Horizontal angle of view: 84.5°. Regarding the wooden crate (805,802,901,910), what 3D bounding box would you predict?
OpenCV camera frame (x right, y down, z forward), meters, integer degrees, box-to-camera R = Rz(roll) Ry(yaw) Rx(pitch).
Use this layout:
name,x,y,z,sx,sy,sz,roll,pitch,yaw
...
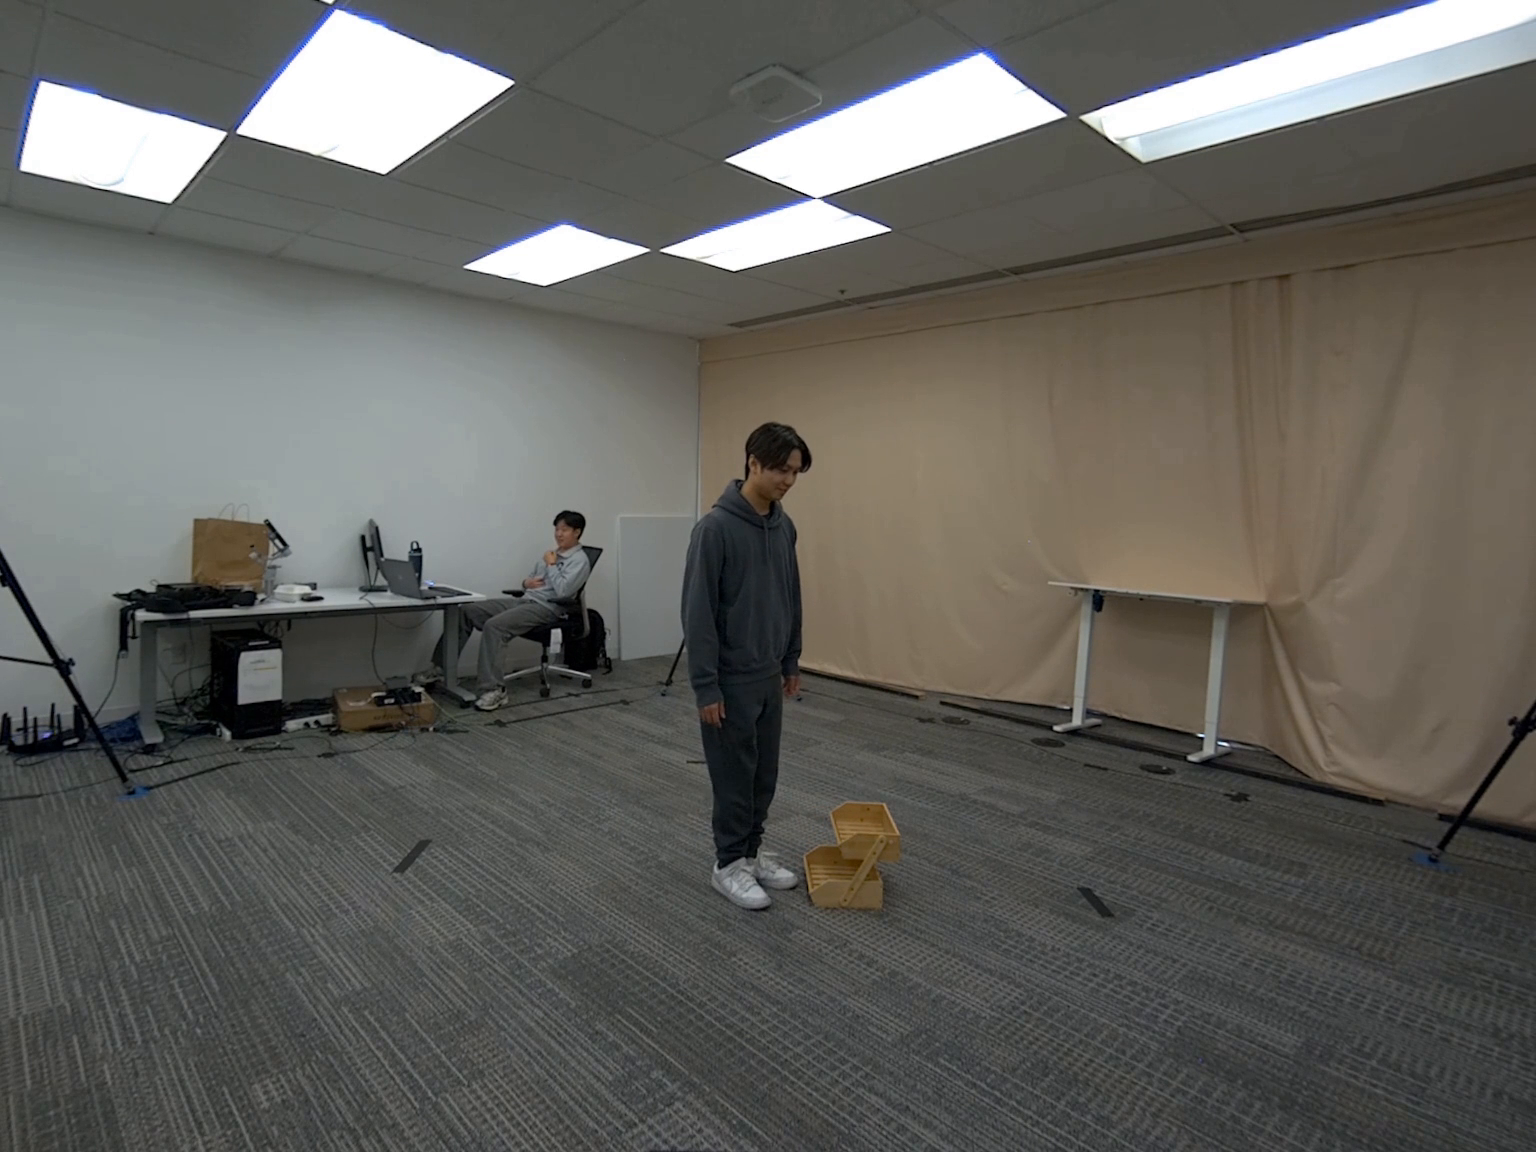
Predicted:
name,x,y,z,sx,sy,sz,roll,pitch,yaw
wooden crate,0.276,0.989,3.024,0.302,0.272,0.326,2,4,-2
